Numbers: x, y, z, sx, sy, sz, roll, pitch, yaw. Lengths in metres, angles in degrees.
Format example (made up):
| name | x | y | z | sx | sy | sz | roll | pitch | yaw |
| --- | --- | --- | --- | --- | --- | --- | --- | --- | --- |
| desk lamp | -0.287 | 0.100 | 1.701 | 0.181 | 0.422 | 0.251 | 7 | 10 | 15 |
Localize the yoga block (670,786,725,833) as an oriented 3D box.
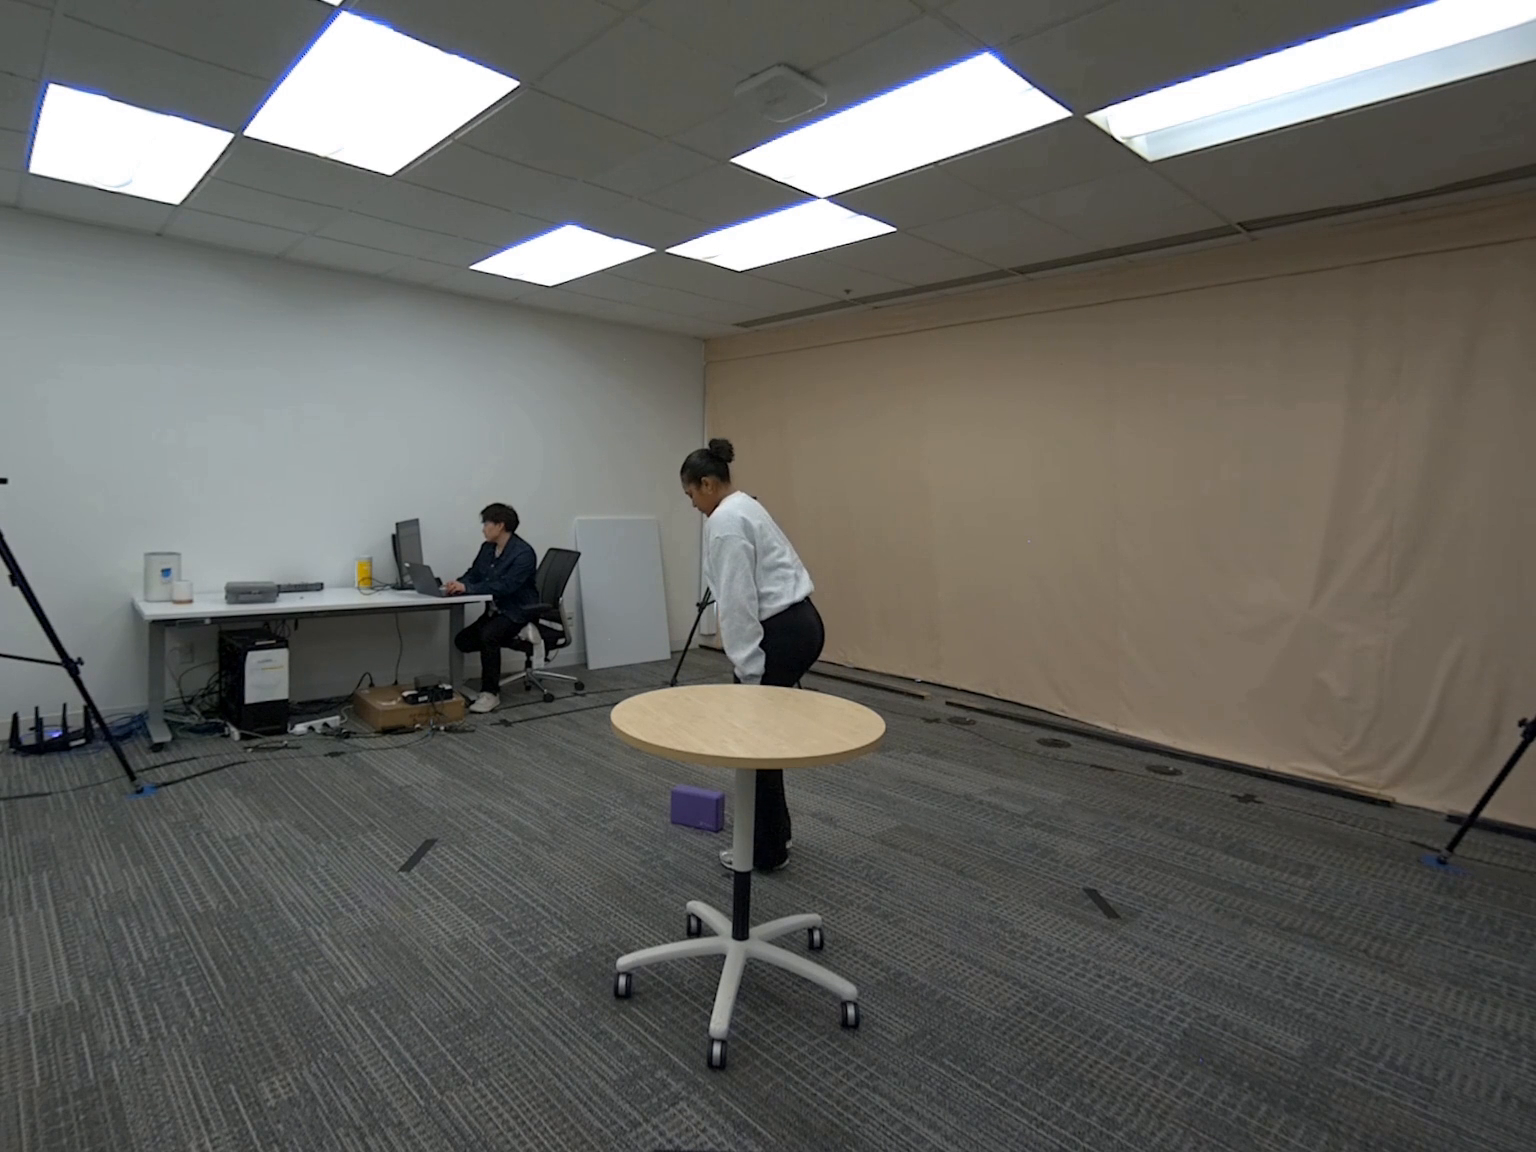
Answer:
| name | x | y | z | sx | sy | sz | roll | pitch | yaw |
| --- | --- | --- | --- | --- | --- | --- | --- | --- | --- |
| yoga block | -0.307 | 0.975 | 3.574 | 0.234 | 0.148 | 0.075 | 2 | 4 | 25 |
